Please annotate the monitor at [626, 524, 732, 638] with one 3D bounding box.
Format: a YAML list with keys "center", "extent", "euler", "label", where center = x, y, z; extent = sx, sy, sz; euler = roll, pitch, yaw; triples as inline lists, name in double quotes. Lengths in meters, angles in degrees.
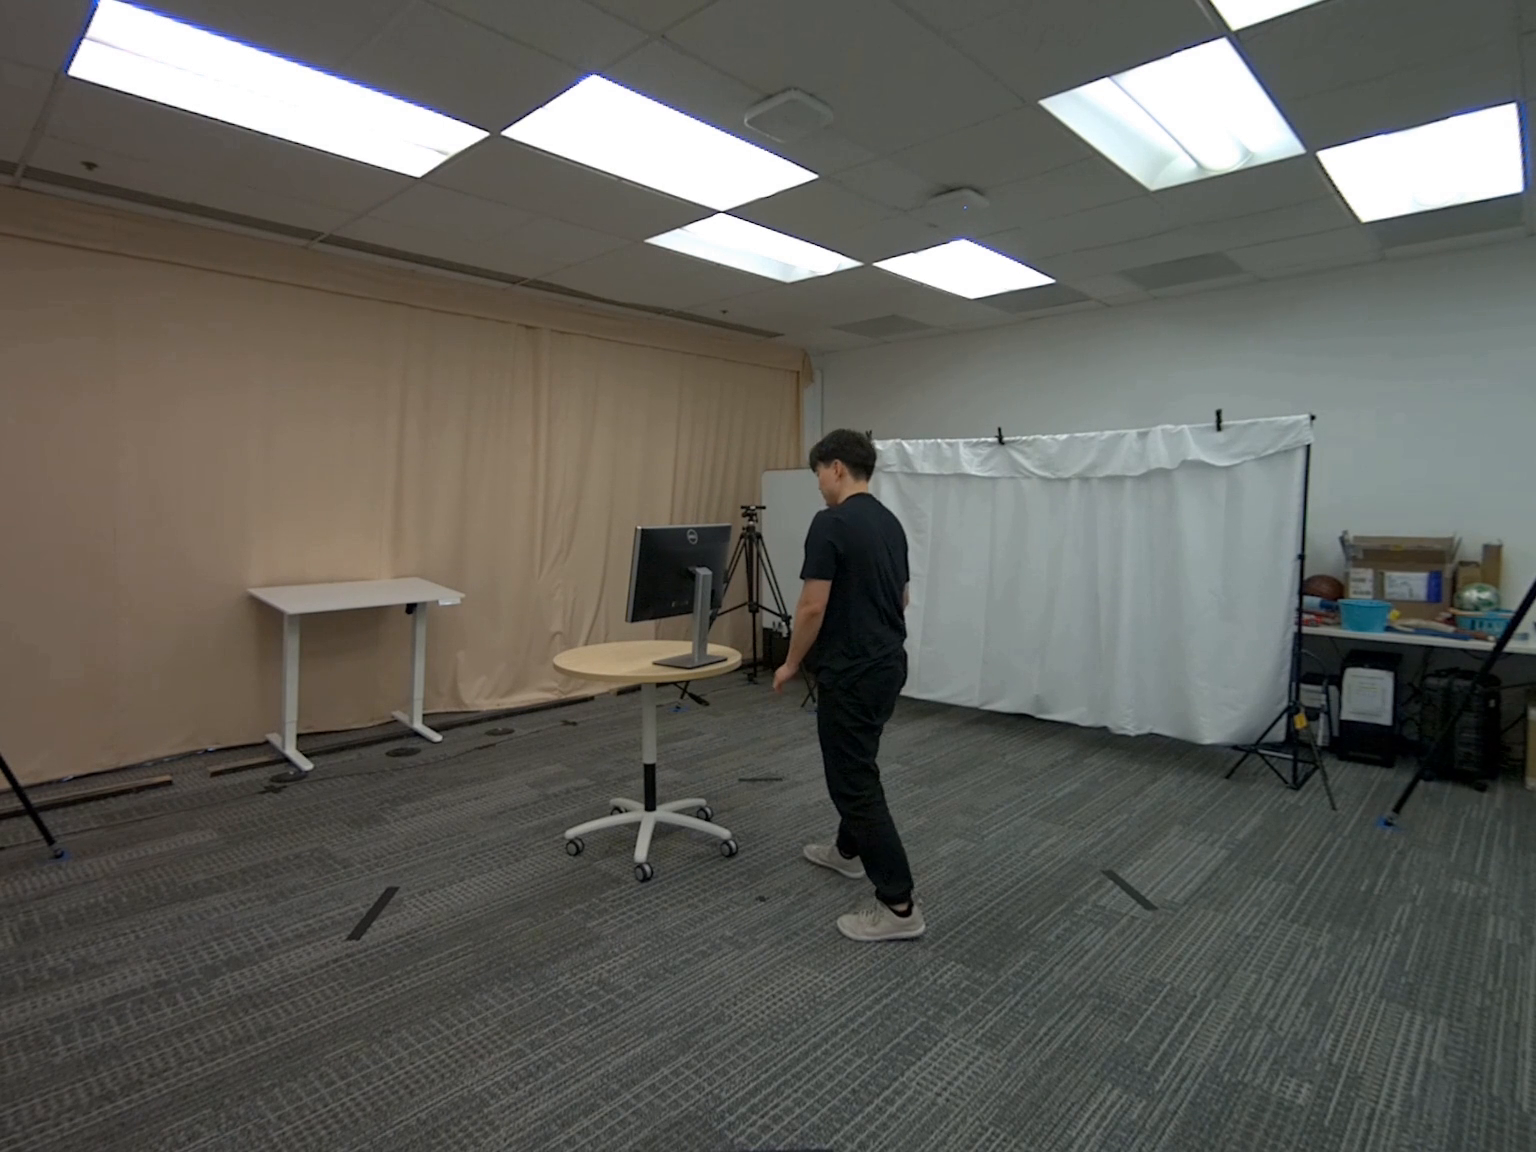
- center: [-0.310, 0.077, 3.298]
  extent: [0.193, 0.522, 0.523]
  euler: [0, 3, 35]
  label: "monitor"
